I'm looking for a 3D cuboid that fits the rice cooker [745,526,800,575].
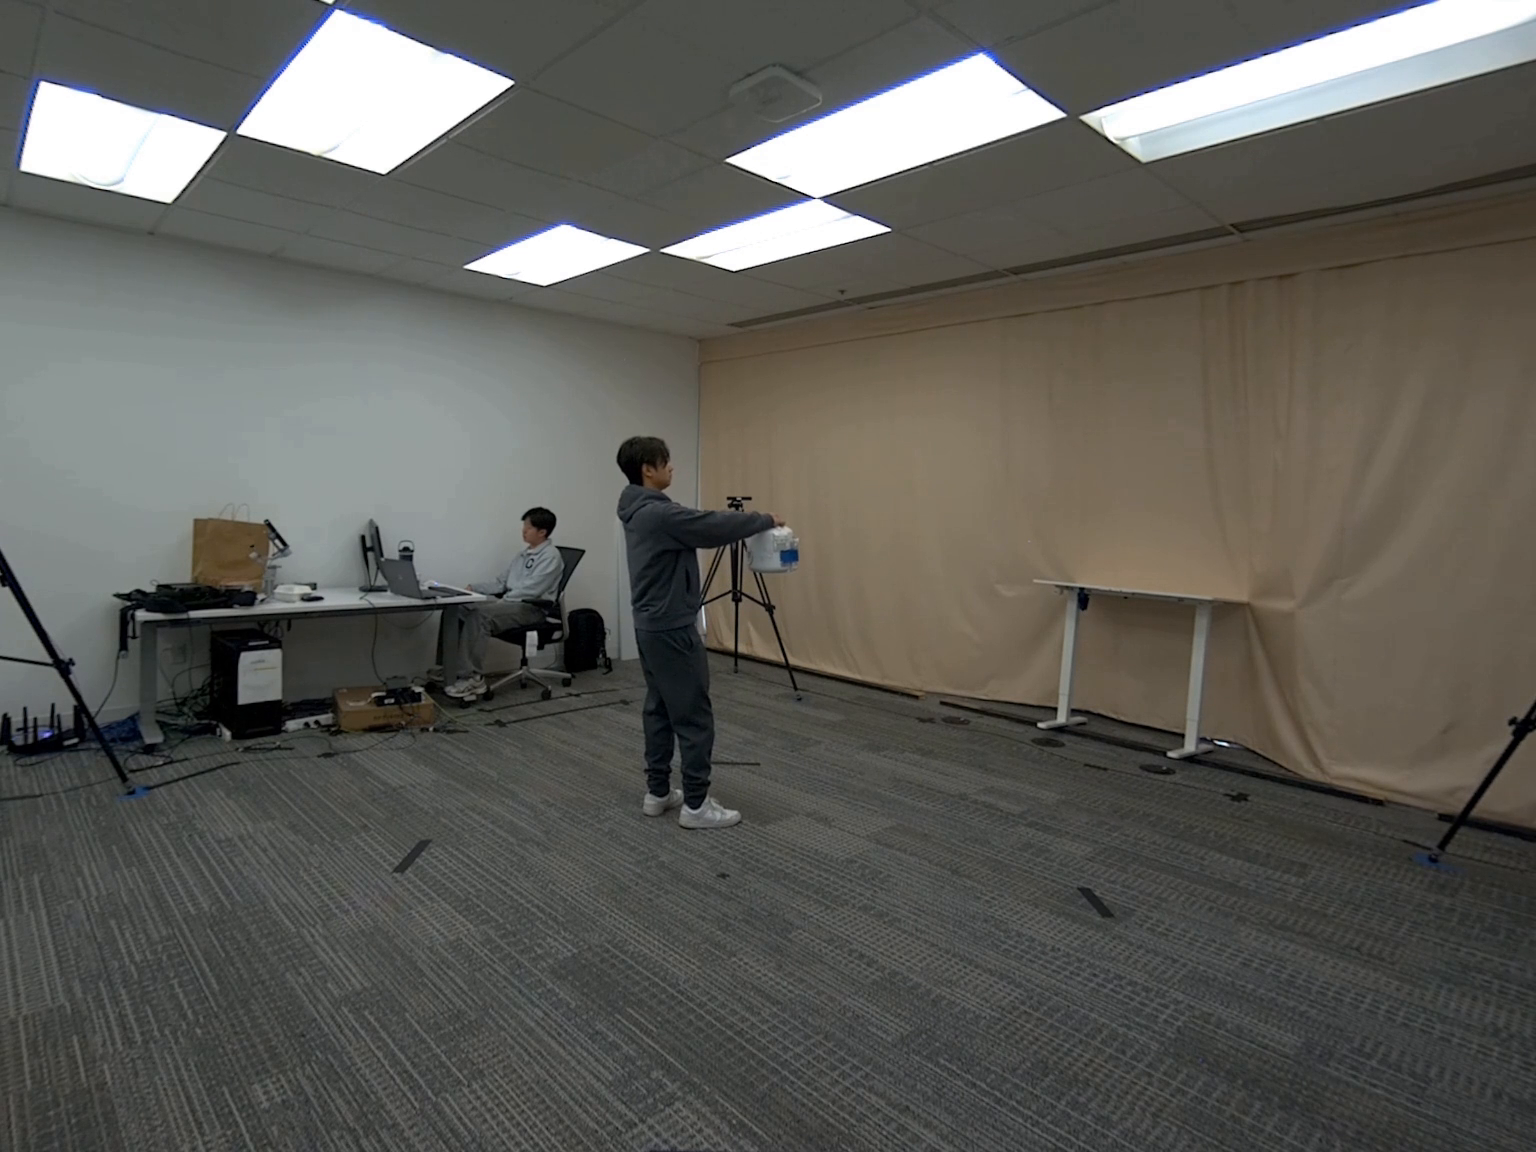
[{"bbox_3d":[0.000,-0.135,3.862,0.213,0.232,0.225,-3,7,-28],"label":"rice cooker"}]
